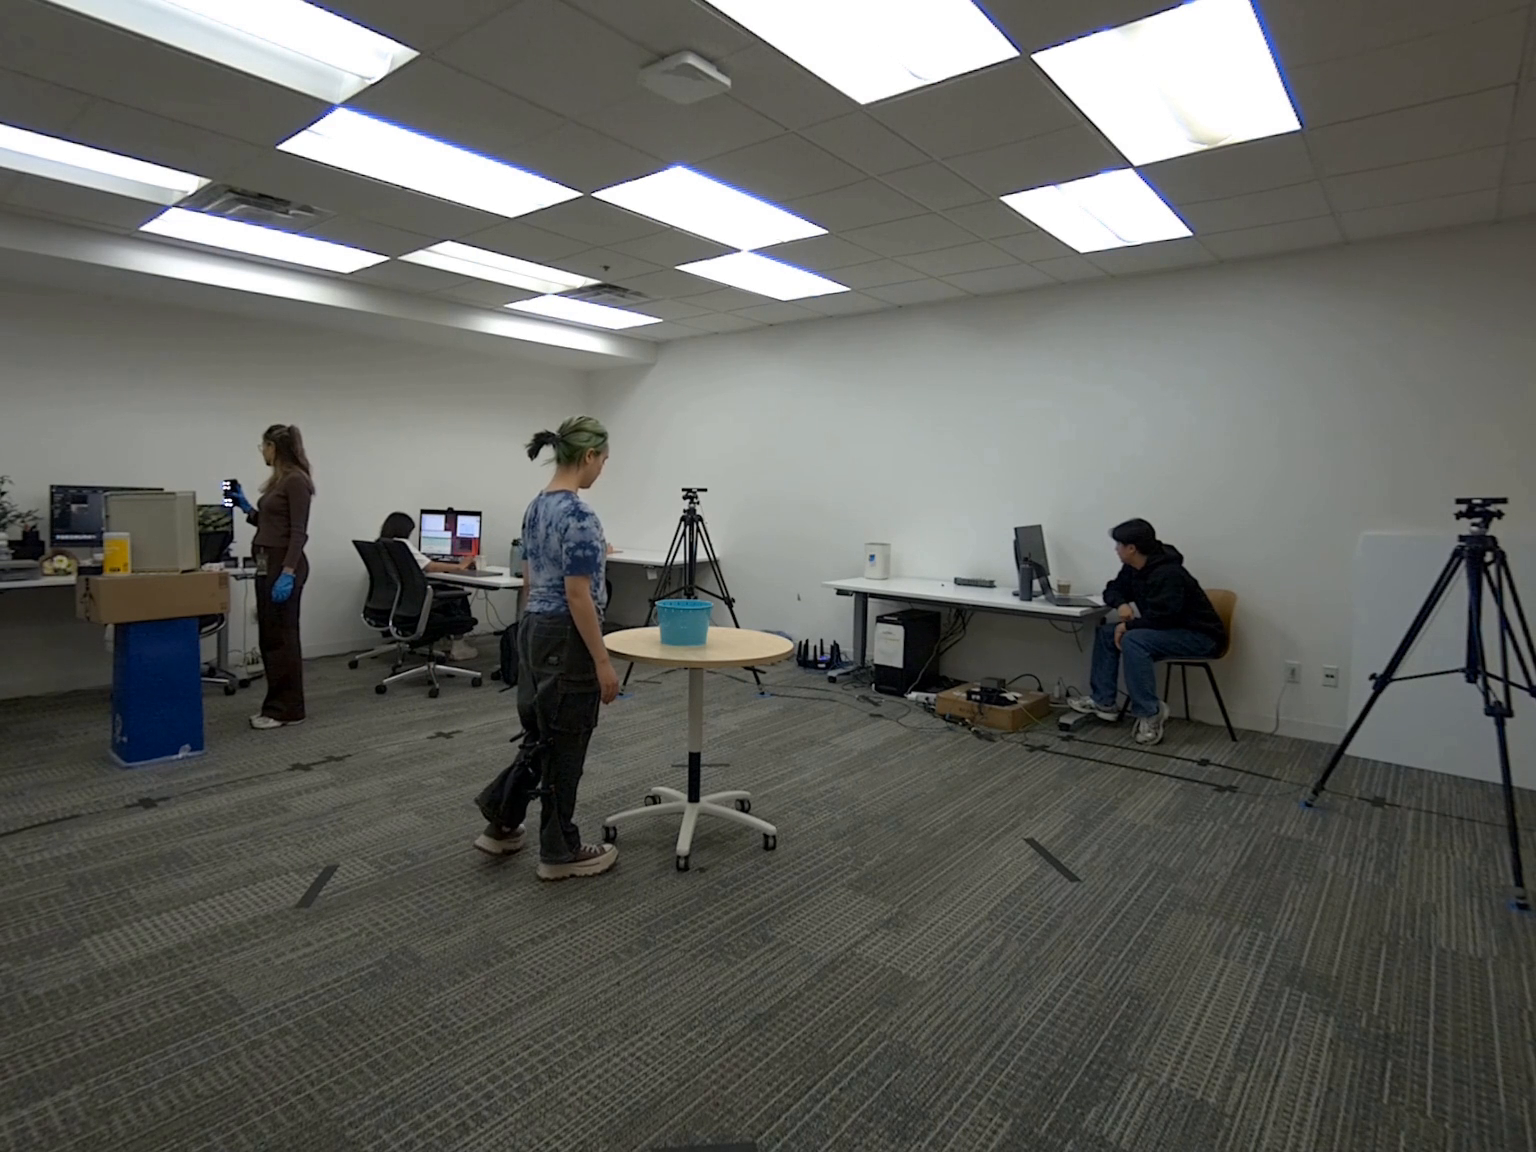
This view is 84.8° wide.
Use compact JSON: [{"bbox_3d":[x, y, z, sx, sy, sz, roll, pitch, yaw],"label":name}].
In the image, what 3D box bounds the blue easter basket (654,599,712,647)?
[{"bbox_3d":[-0.339,0.186,3.368,0.243,0.155,0.245,2,5,-2],"label":"blue easter basket"}]
